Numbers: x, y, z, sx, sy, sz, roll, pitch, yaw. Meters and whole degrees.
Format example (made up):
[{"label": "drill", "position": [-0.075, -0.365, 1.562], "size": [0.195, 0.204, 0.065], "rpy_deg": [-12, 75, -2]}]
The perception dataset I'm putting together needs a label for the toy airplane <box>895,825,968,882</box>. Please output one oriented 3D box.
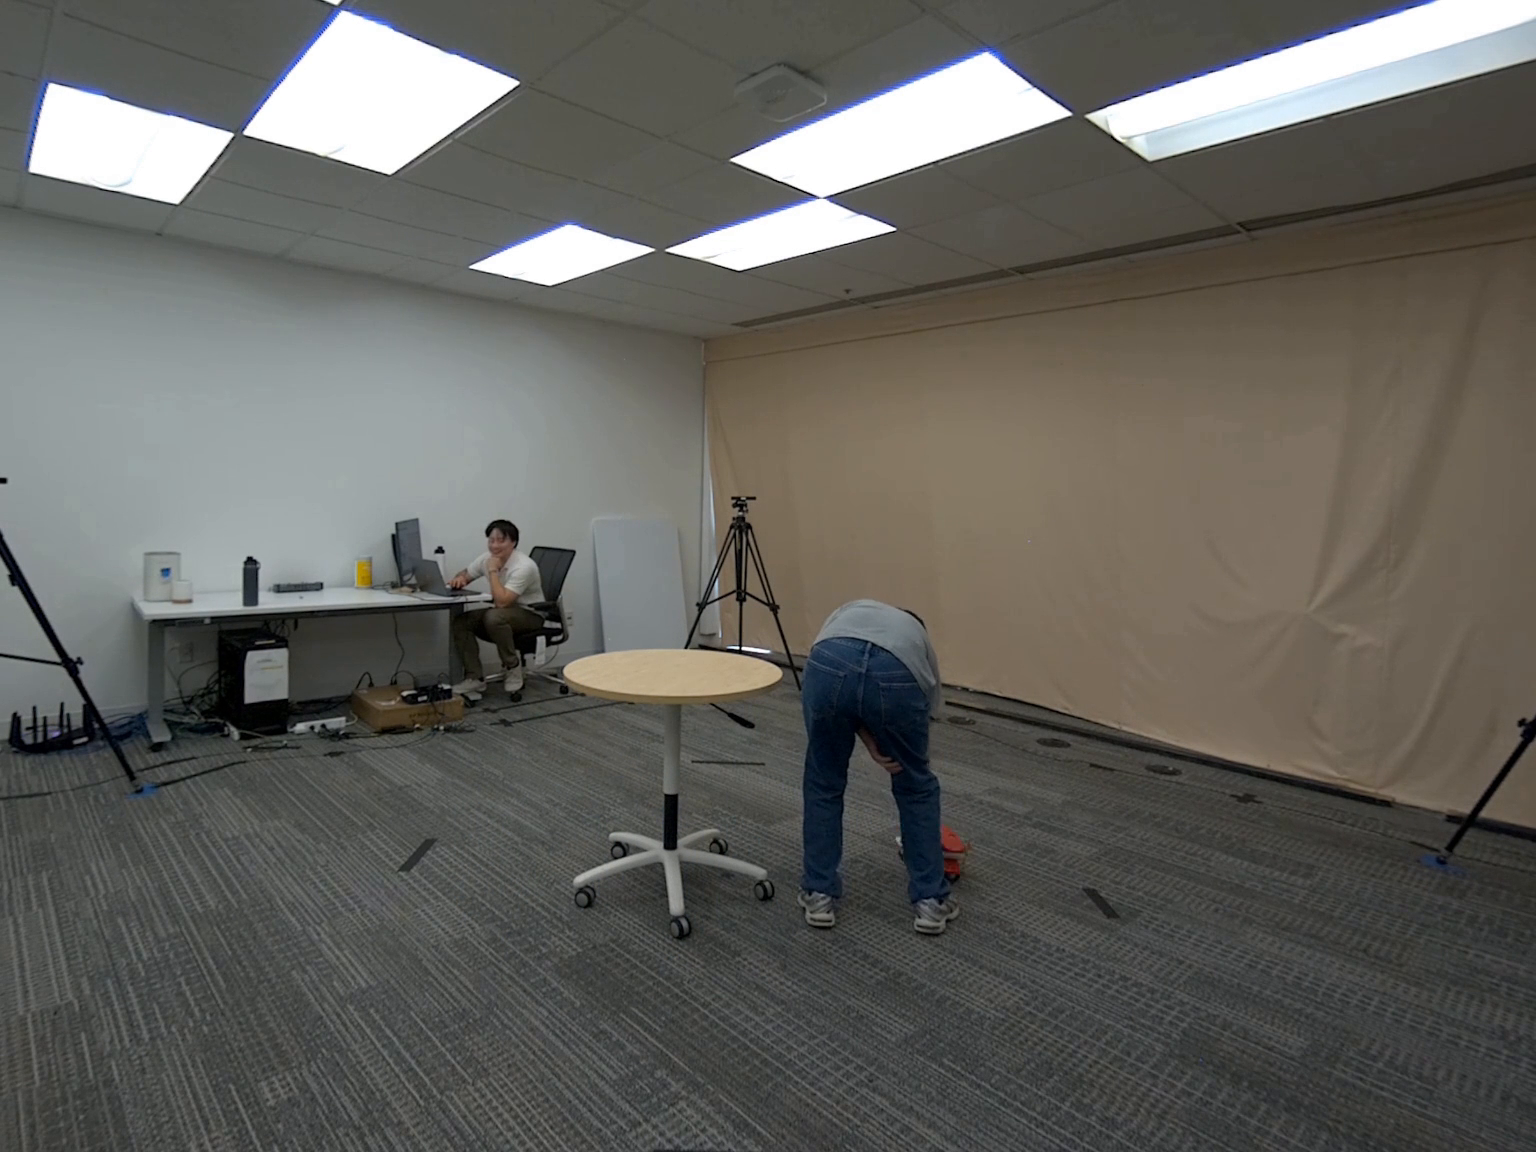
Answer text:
[{"label": "toy airplane", "position": [0.615, 1.025, 3.121], "size": [0.252, 0.156, 0.258], "rpy_deg": [20, 1, -35]}]
